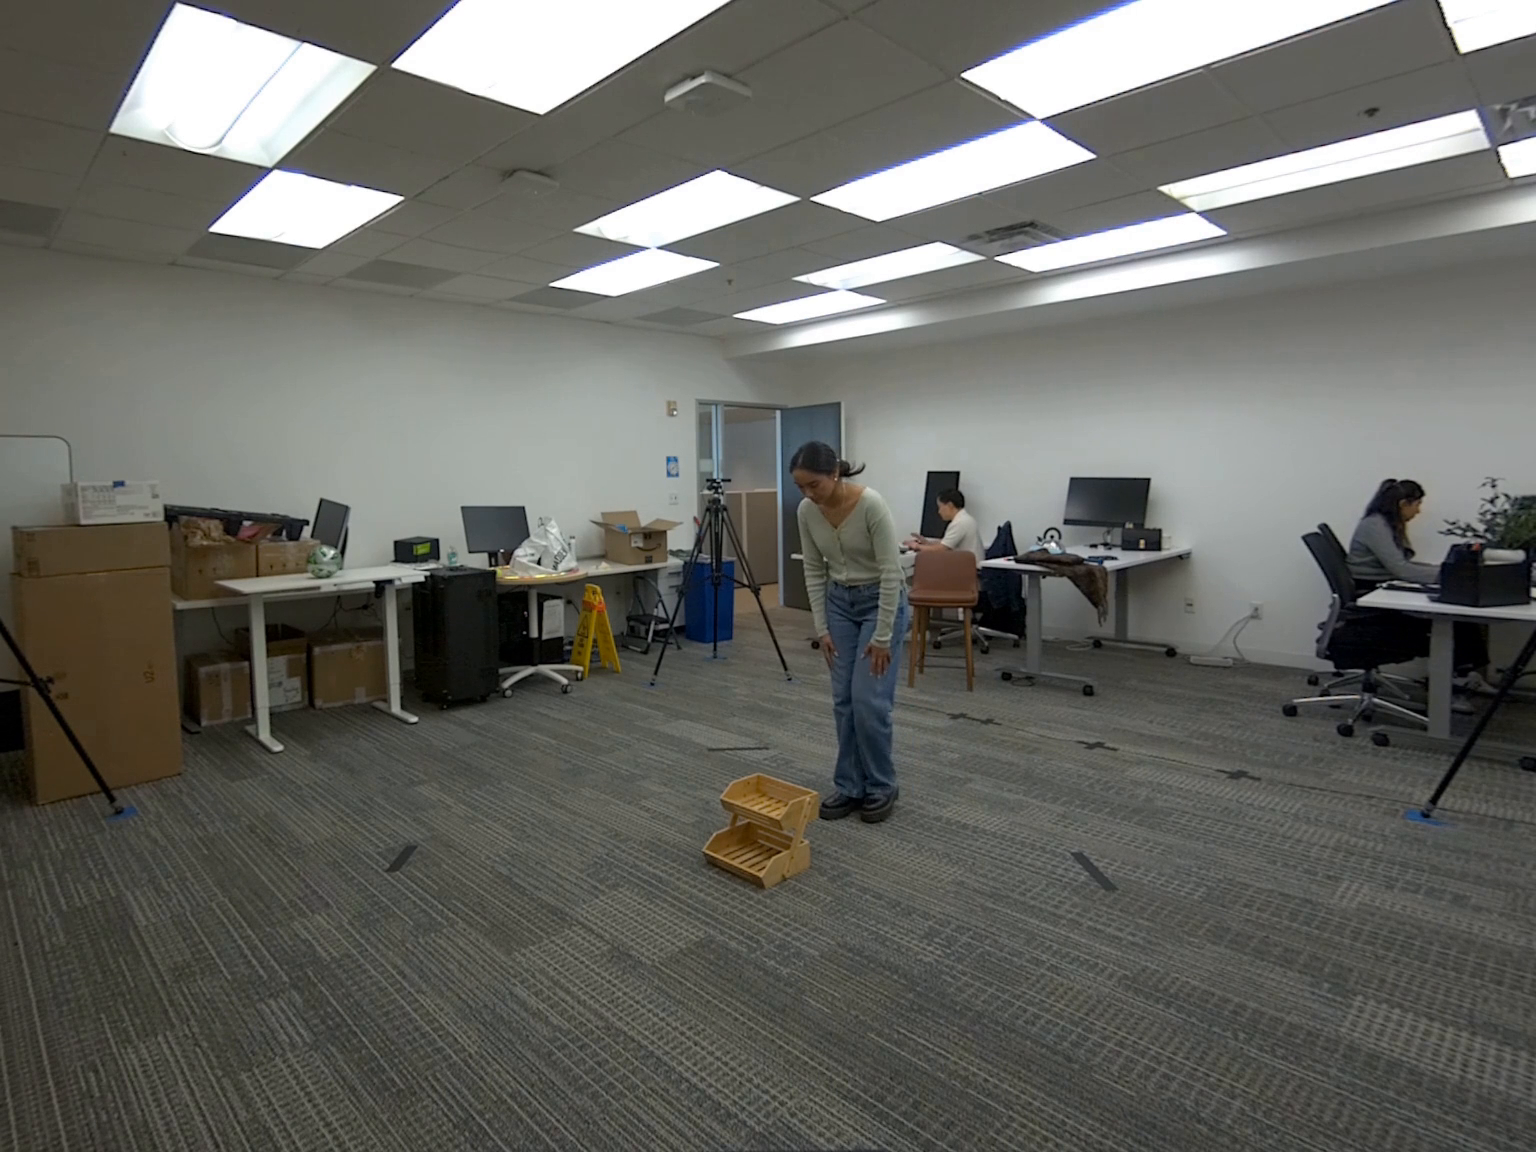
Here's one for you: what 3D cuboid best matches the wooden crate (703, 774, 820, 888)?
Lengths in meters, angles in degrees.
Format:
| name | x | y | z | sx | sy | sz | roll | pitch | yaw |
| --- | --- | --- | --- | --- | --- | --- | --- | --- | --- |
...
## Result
| name | x | y | z | sx | sy | sz | roll | pitch | yaw |
| --- | --- | --- | --- | --- | --- | --- | --- | --- | --- |
| wooden crate | -0.026 | 0.910 | 3.101 | 0.334 | 0.272 | 0.294 | 4 | 6 | 44 |
